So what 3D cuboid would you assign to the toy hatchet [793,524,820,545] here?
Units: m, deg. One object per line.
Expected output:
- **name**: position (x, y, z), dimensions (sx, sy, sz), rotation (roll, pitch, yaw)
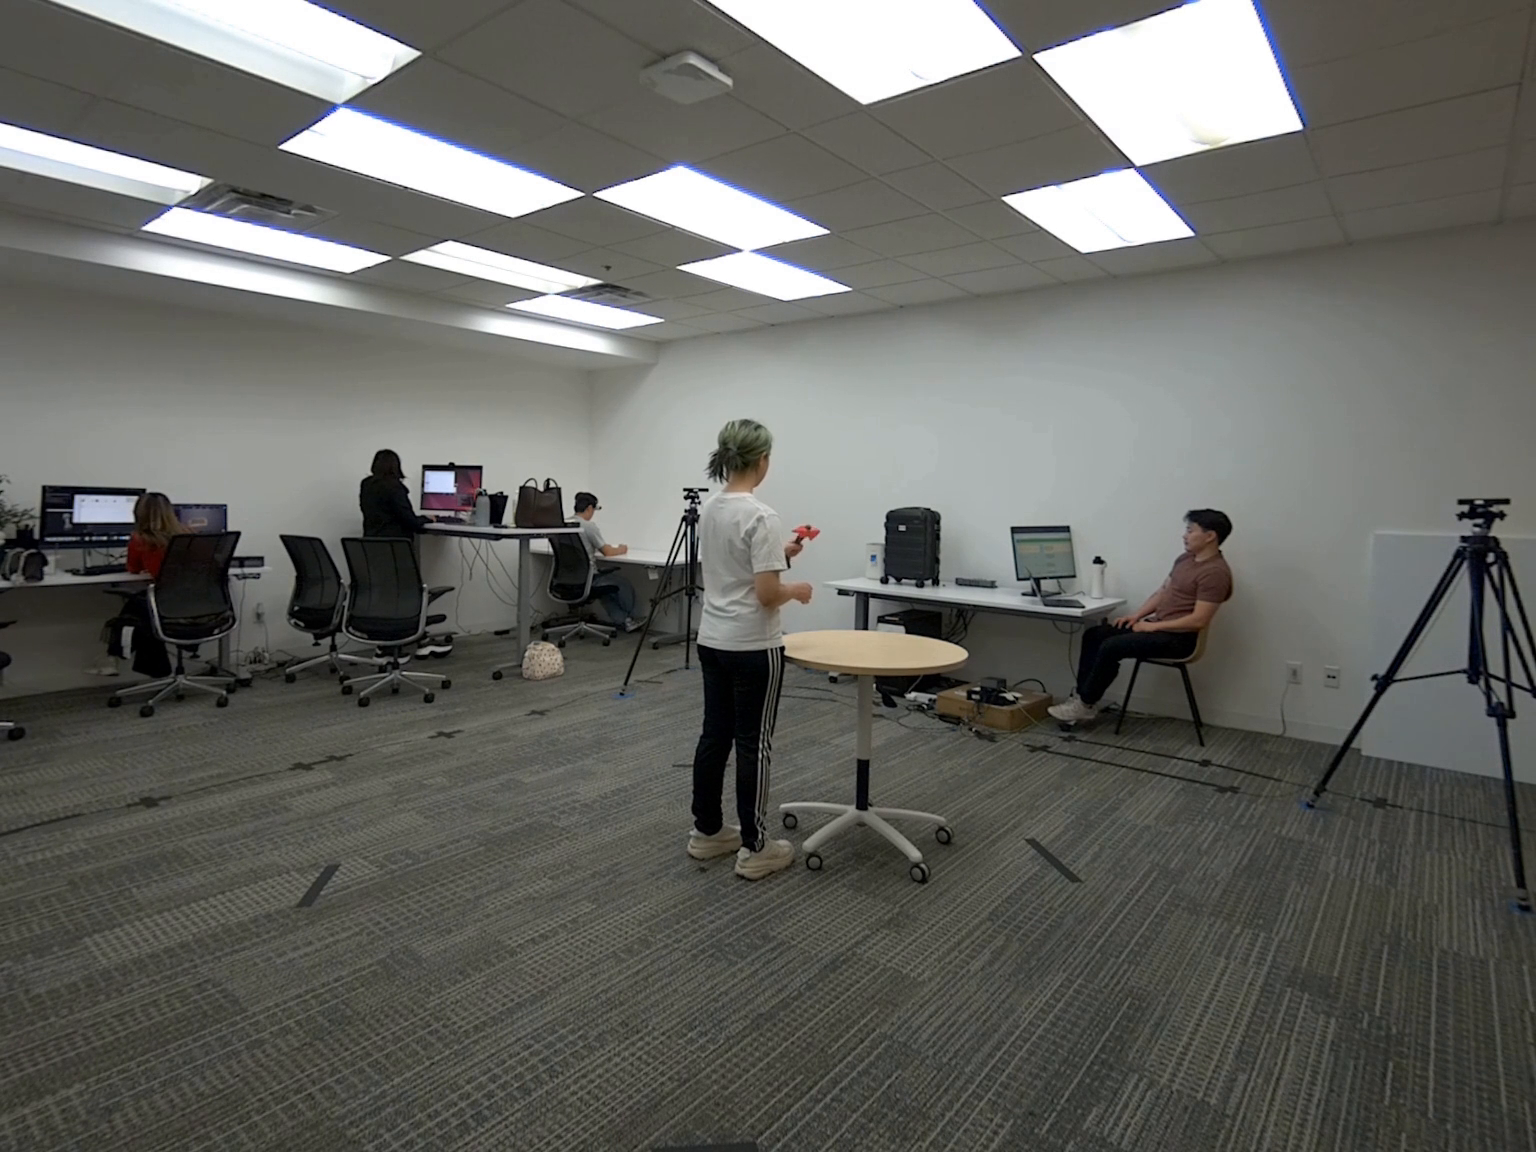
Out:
- **toy hatchet**: position (0.118, -0.118, 3.442), dimensions (0.129, 0.030, 0.264), rotation (-12, -31, -16)
